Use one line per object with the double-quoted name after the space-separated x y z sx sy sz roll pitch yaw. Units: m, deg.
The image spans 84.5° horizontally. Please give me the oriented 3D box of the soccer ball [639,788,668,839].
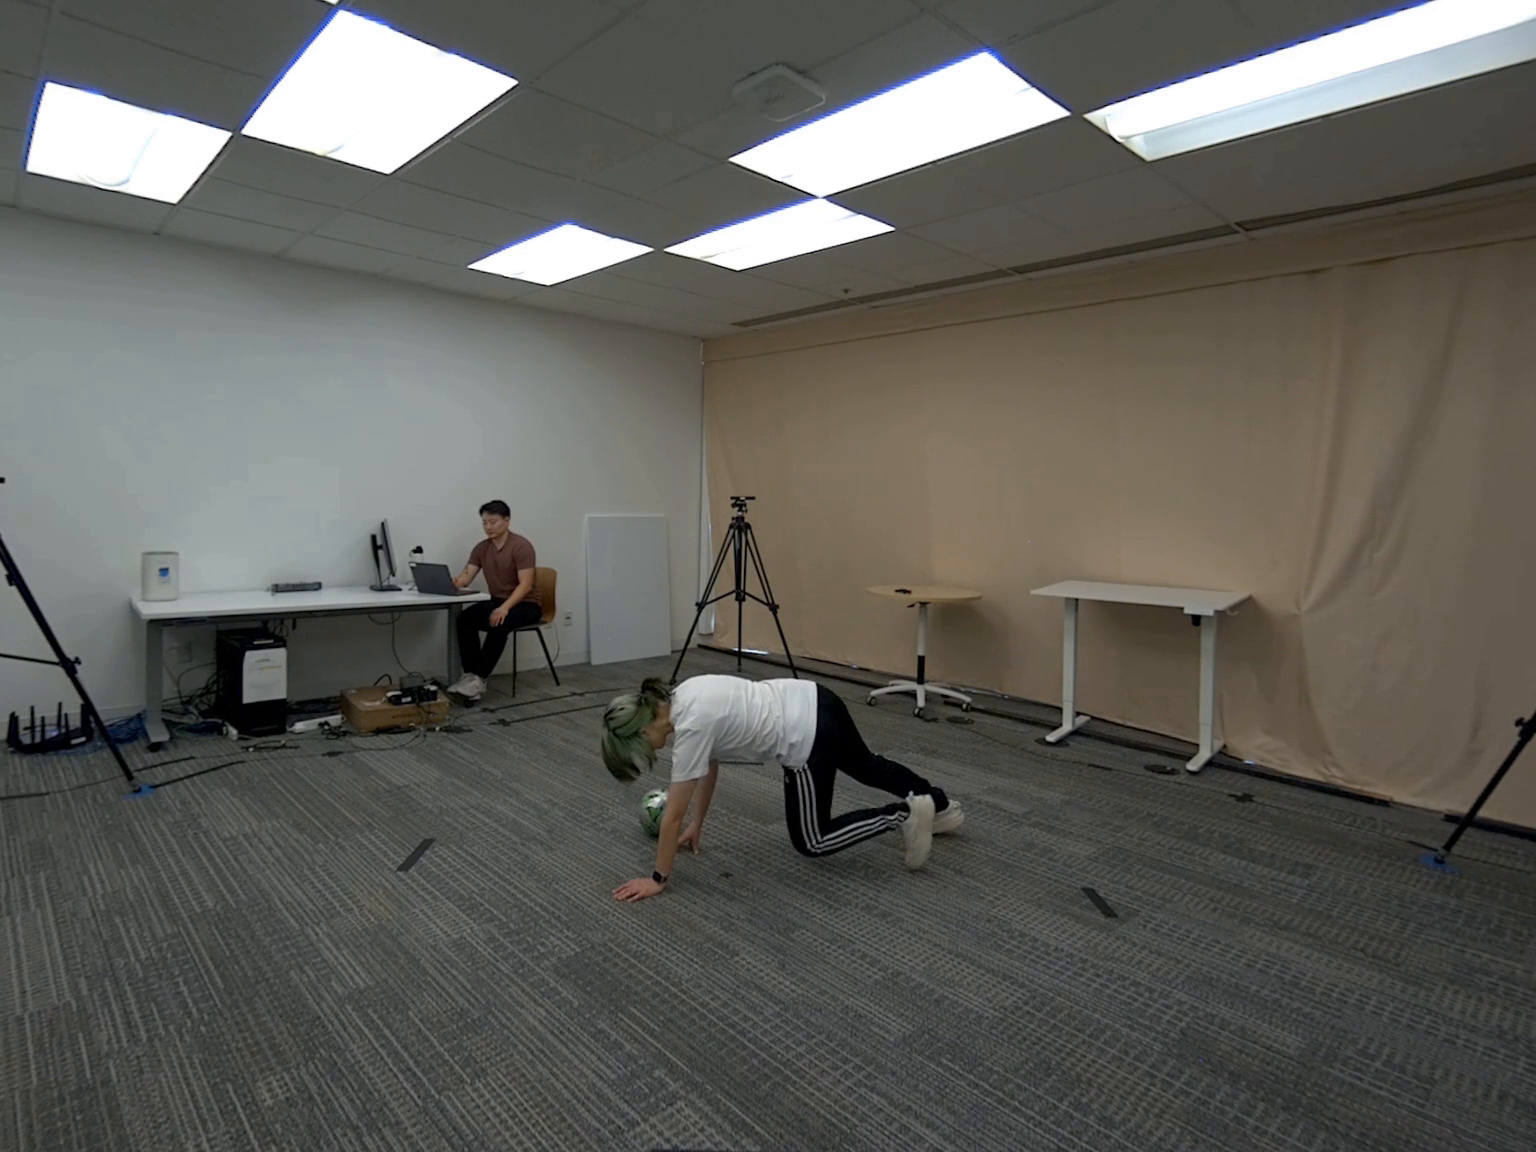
-0.446 0.967 3.473 0.187 0.187 0.188 1 4 -1 "soccer ball"
